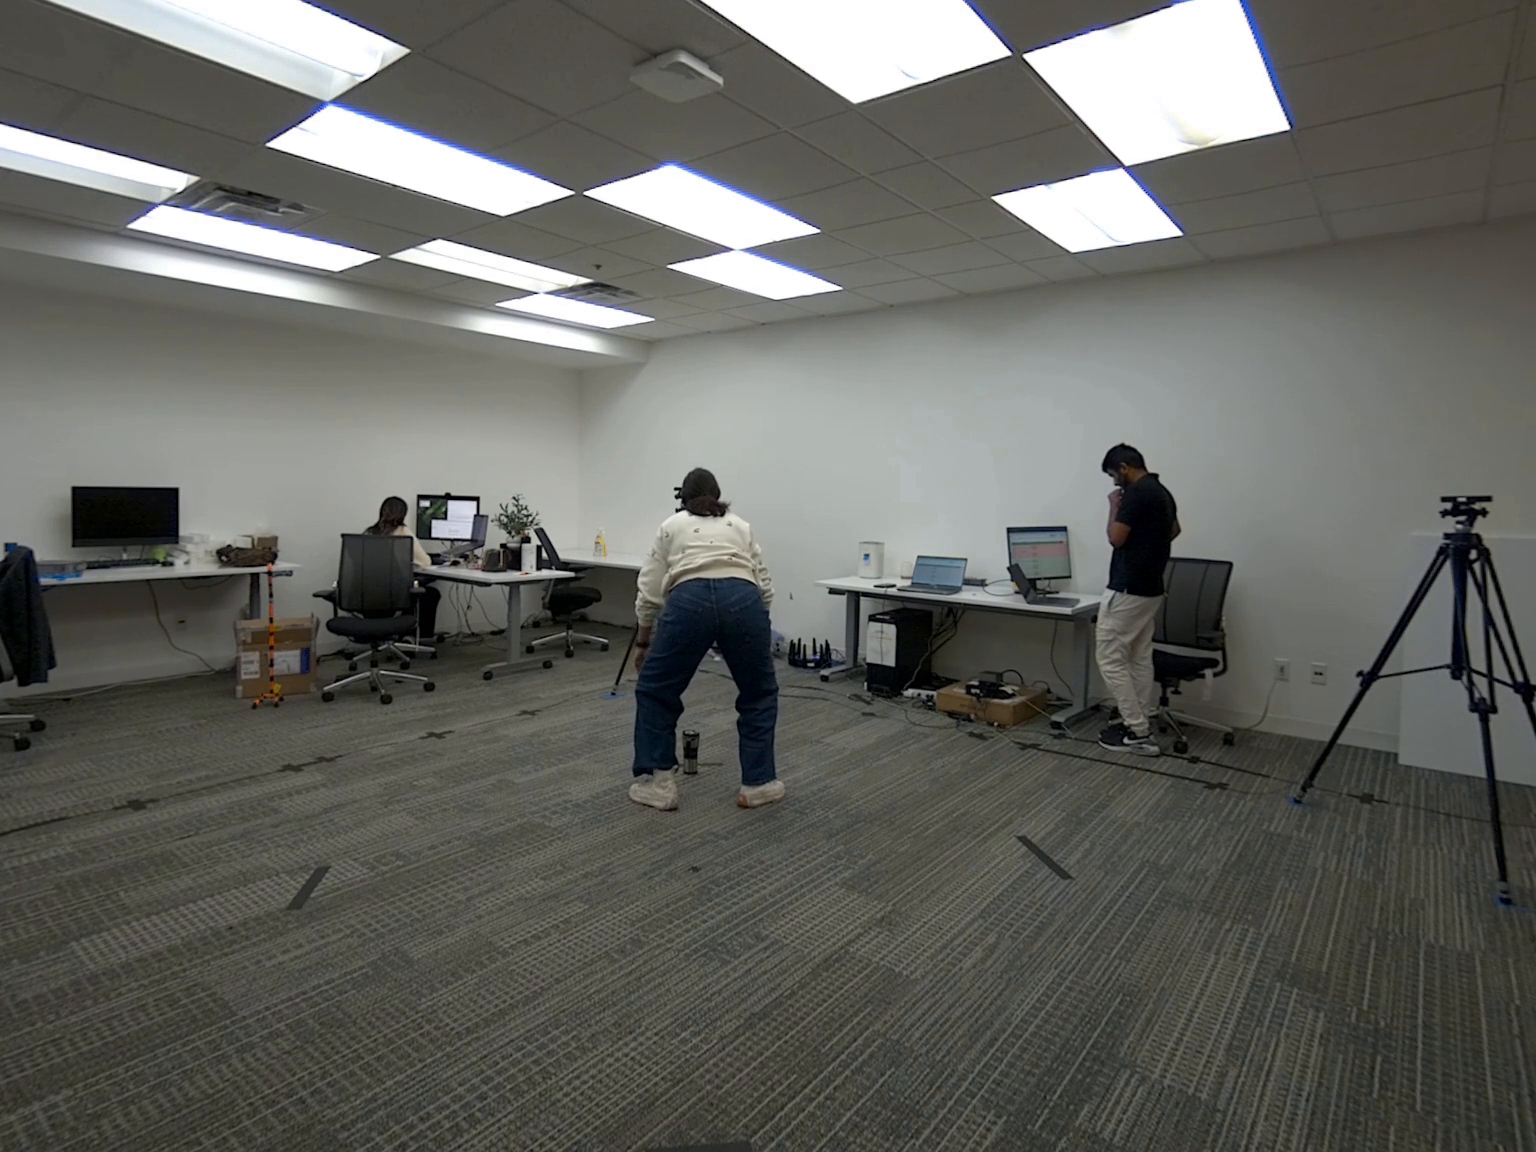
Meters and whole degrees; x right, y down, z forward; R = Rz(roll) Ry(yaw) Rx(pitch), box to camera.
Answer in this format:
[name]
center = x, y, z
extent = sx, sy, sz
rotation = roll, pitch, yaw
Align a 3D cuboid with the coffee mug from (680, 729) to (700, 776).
[coffee mug]
center = -0.395, 0.862, 4.150
extent = 0.089, 0.203, 0.120
rotation = 4, -3, 8
